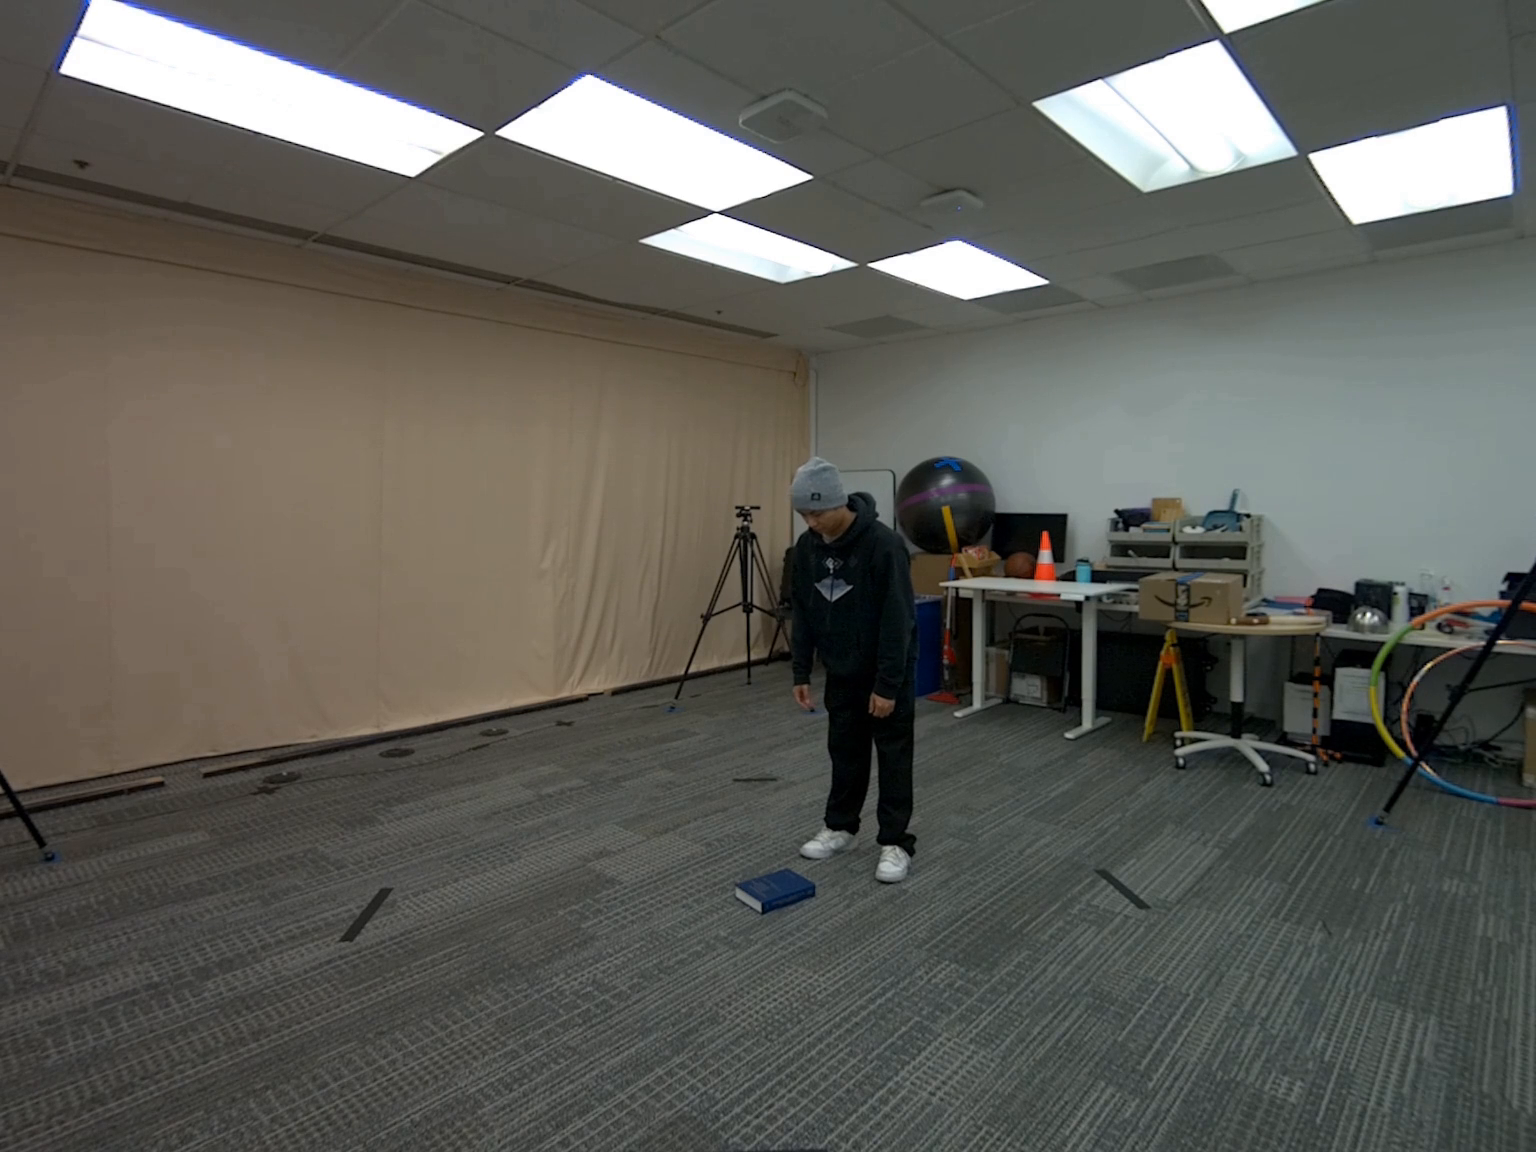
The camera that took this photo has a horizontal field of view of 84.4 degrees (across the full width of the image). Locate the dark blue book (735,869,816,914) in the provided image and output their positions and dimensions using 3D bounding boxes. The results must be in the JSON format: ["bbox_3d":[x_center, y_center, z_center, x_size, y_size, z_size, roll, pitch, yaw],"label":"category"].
[{"bbox_3d":[0.028,1.118,2.997,0.238,0.045,0.168,-4,5,-36],"label":"dark blue book"}]
